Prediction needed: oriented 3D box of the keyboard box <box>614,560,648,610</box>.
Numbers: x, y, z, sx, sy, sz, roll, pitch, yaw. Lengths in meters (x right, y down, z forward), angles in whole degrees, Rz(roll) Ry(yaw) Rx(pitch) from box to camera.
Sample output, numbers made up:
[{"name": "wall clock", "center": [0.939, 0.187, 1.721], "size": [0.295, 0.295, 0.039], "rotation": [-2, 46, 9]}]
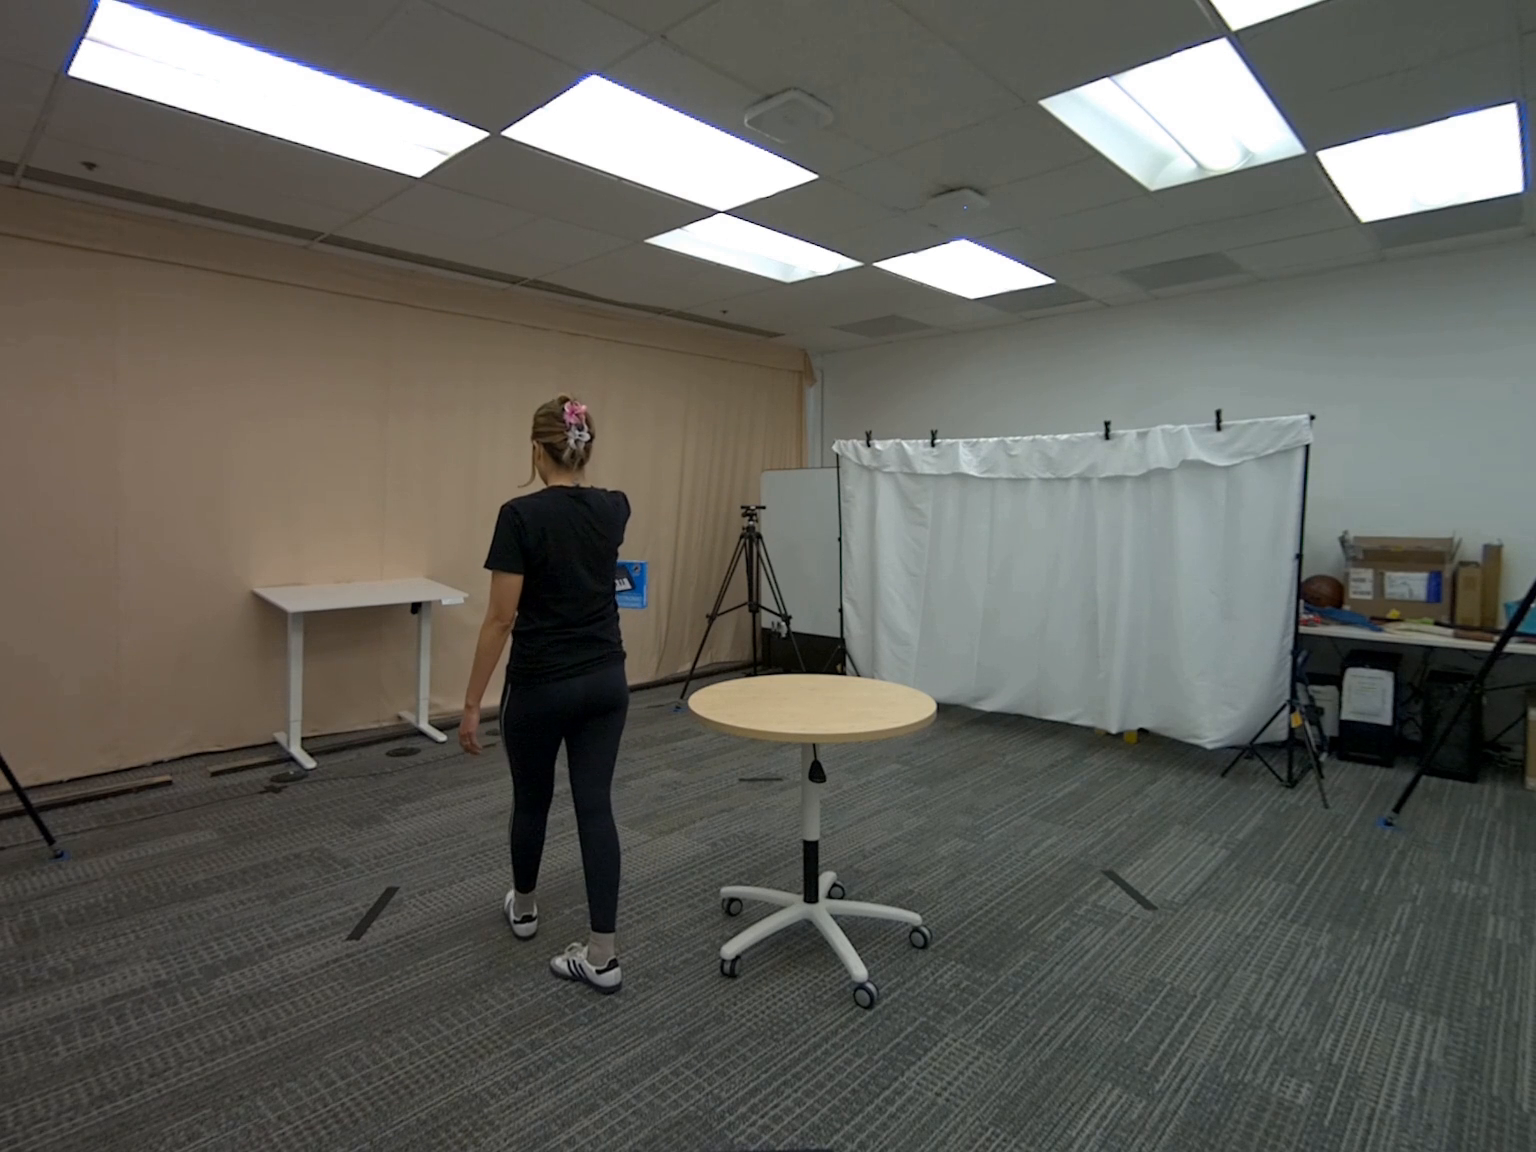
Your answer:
[{"name": "keyboard box", "center": [-0.670, 0.022, 3.150], "size": [0.443, 0.176, 0.058], "rotation": [3, 2, 13]}]
